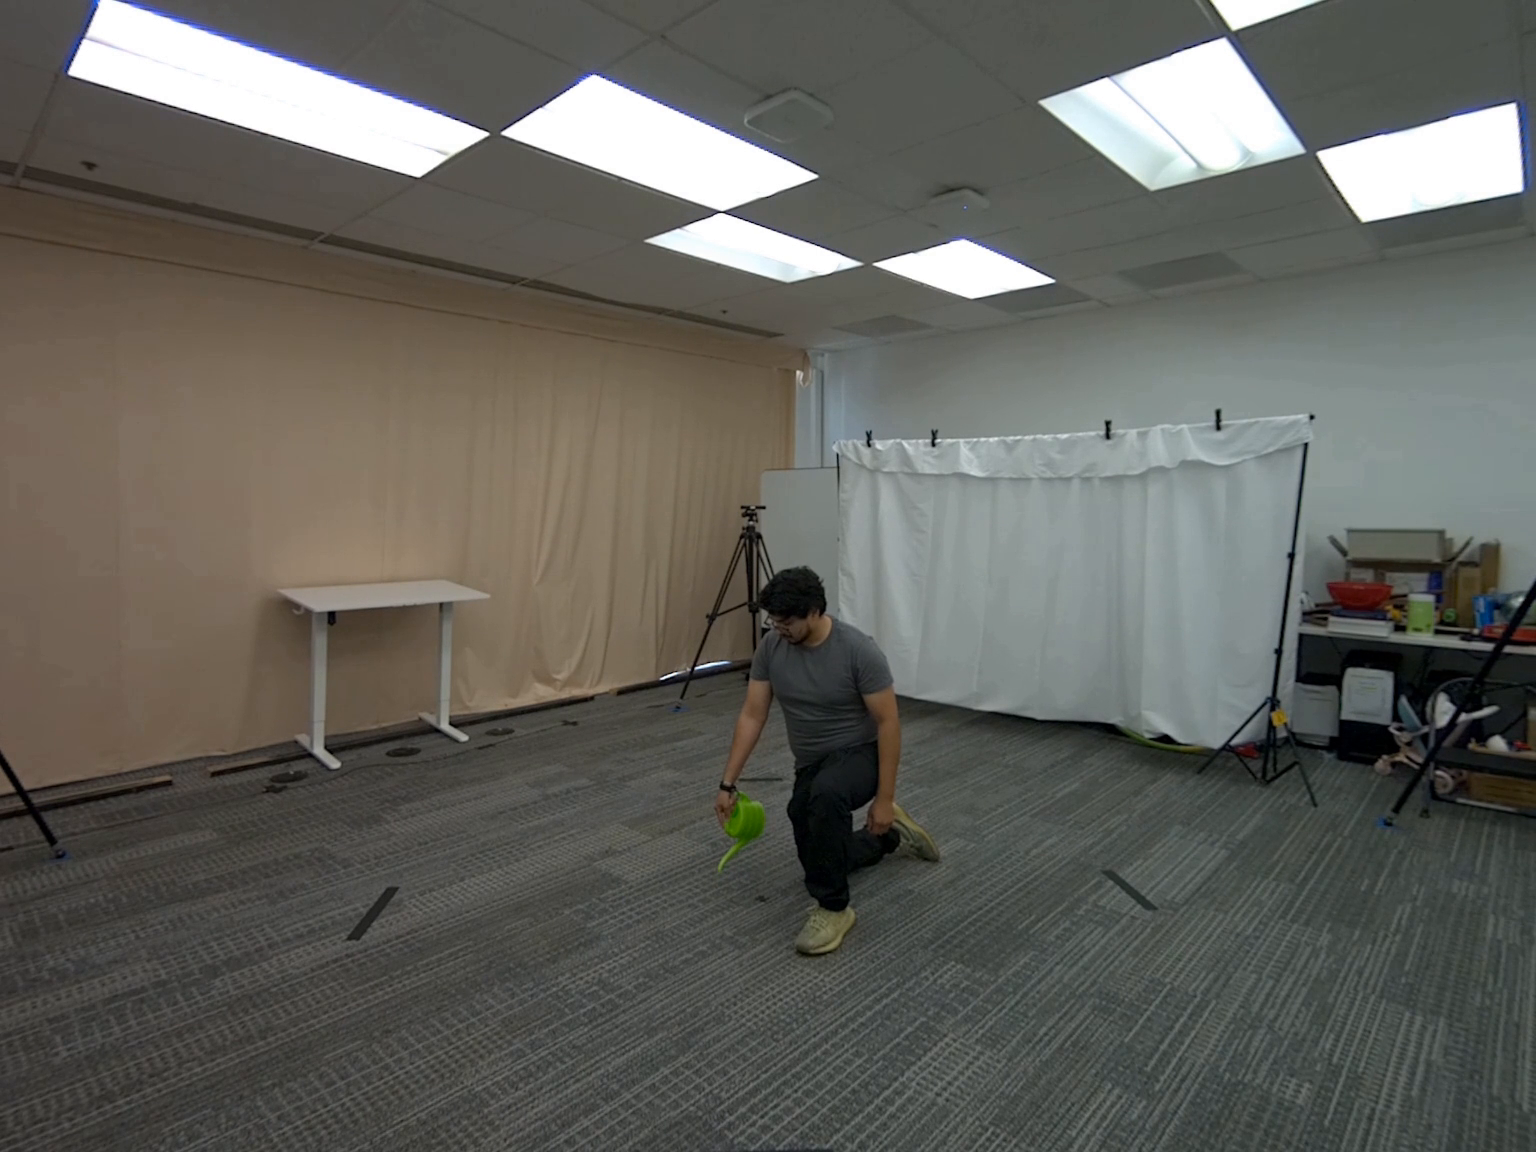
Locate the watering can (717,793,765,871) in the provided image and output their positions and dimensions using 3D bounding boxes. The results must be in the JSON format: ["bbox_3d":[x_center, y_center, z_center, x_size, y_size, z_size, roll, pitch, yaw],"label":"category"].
[{"bbox_3d":[-0.105,0.936,3.086,0.101,0.278,0.170,14,-5,43],"label":"watering can"}]
